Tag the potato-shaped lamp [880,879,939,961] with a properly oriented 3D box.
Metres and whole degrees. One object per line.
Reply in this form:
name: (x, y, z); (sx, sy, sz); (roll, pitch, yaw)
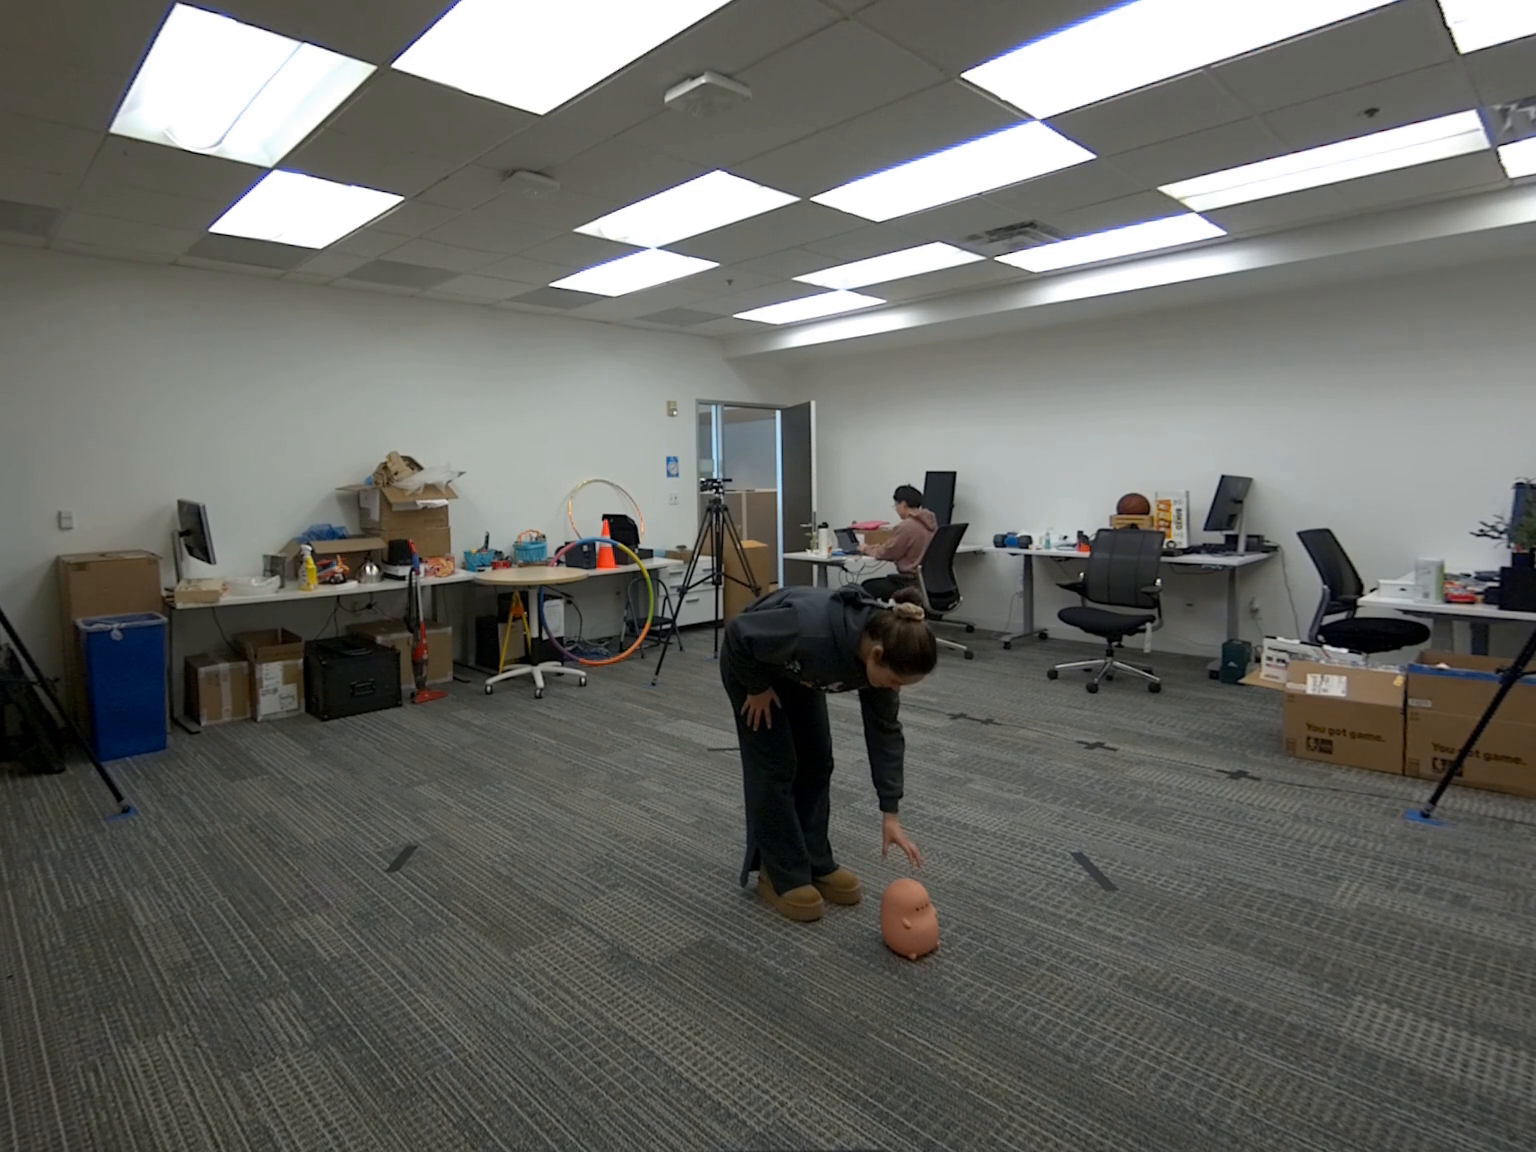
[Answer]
potato-shaped lamp: (0.422, 1.008, 2.519); (0.161, 0.197, 0.176); (-5, 8, -33)
